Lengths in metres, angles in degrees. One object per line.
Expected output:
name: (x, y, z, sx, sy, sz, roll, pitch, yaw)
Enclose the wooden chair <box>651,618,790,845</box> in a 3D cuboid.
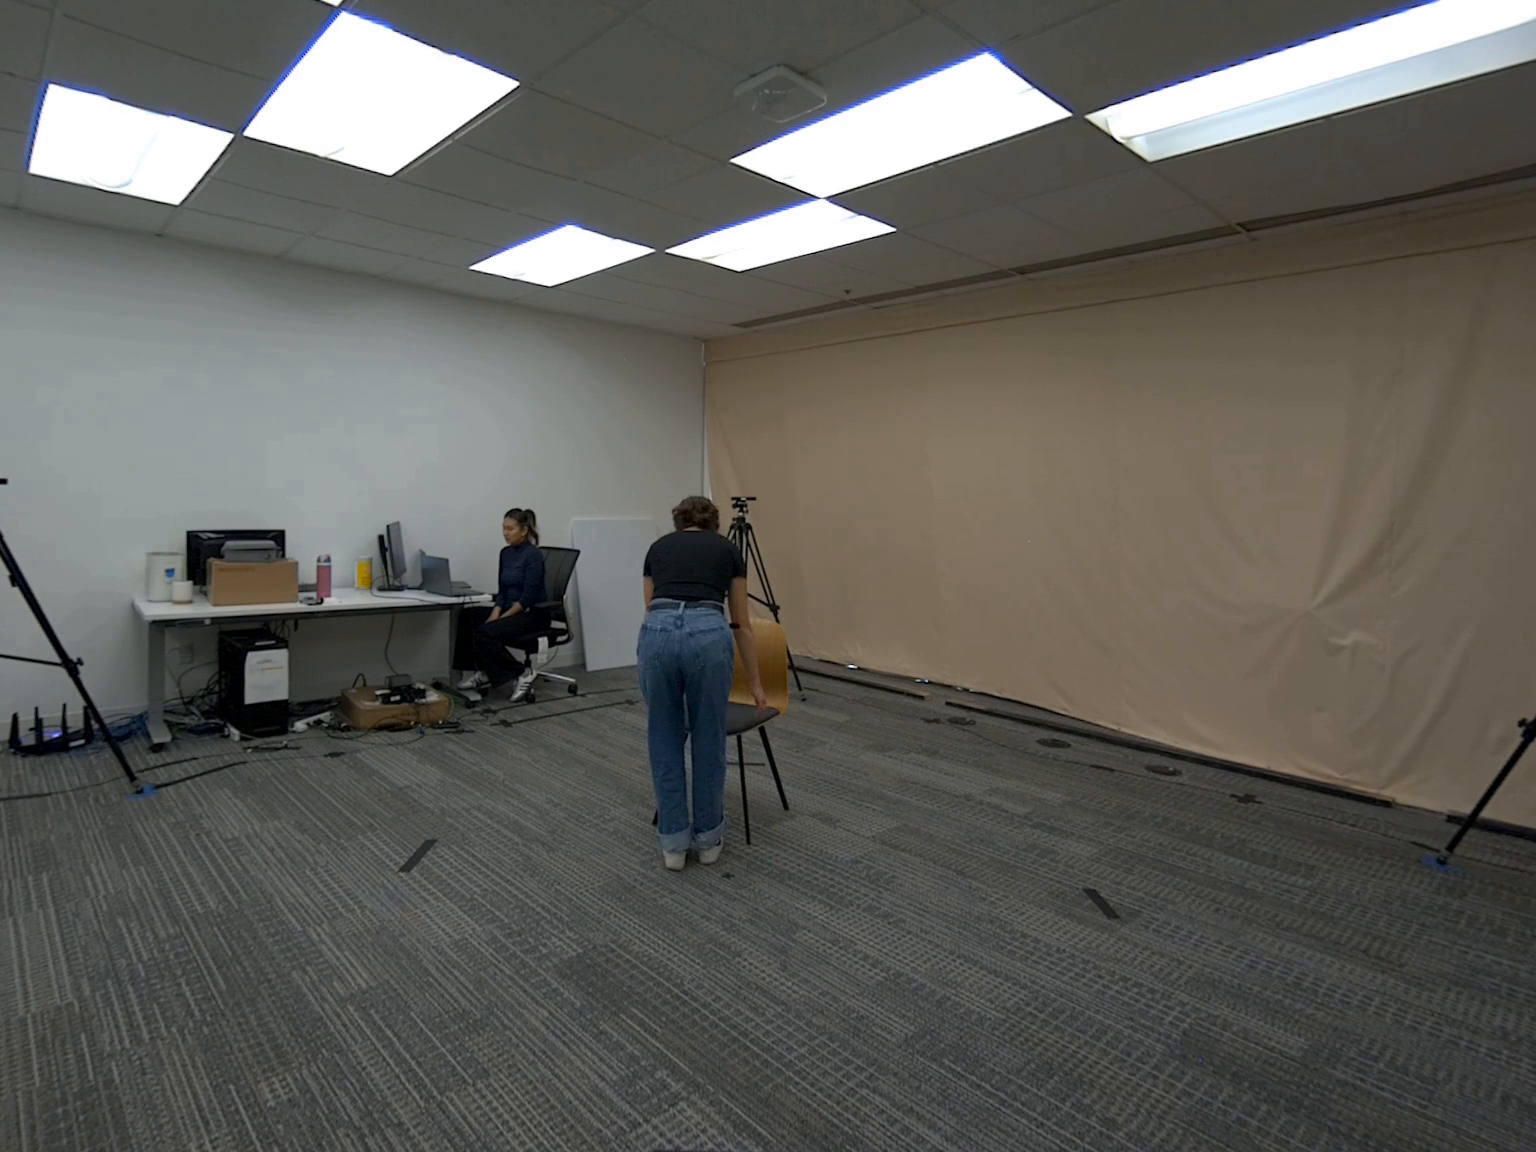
wooden chair: (-0.191, 0.631, 3.647, 0.487, 0.878, 0.513, 3, -1, 24)
